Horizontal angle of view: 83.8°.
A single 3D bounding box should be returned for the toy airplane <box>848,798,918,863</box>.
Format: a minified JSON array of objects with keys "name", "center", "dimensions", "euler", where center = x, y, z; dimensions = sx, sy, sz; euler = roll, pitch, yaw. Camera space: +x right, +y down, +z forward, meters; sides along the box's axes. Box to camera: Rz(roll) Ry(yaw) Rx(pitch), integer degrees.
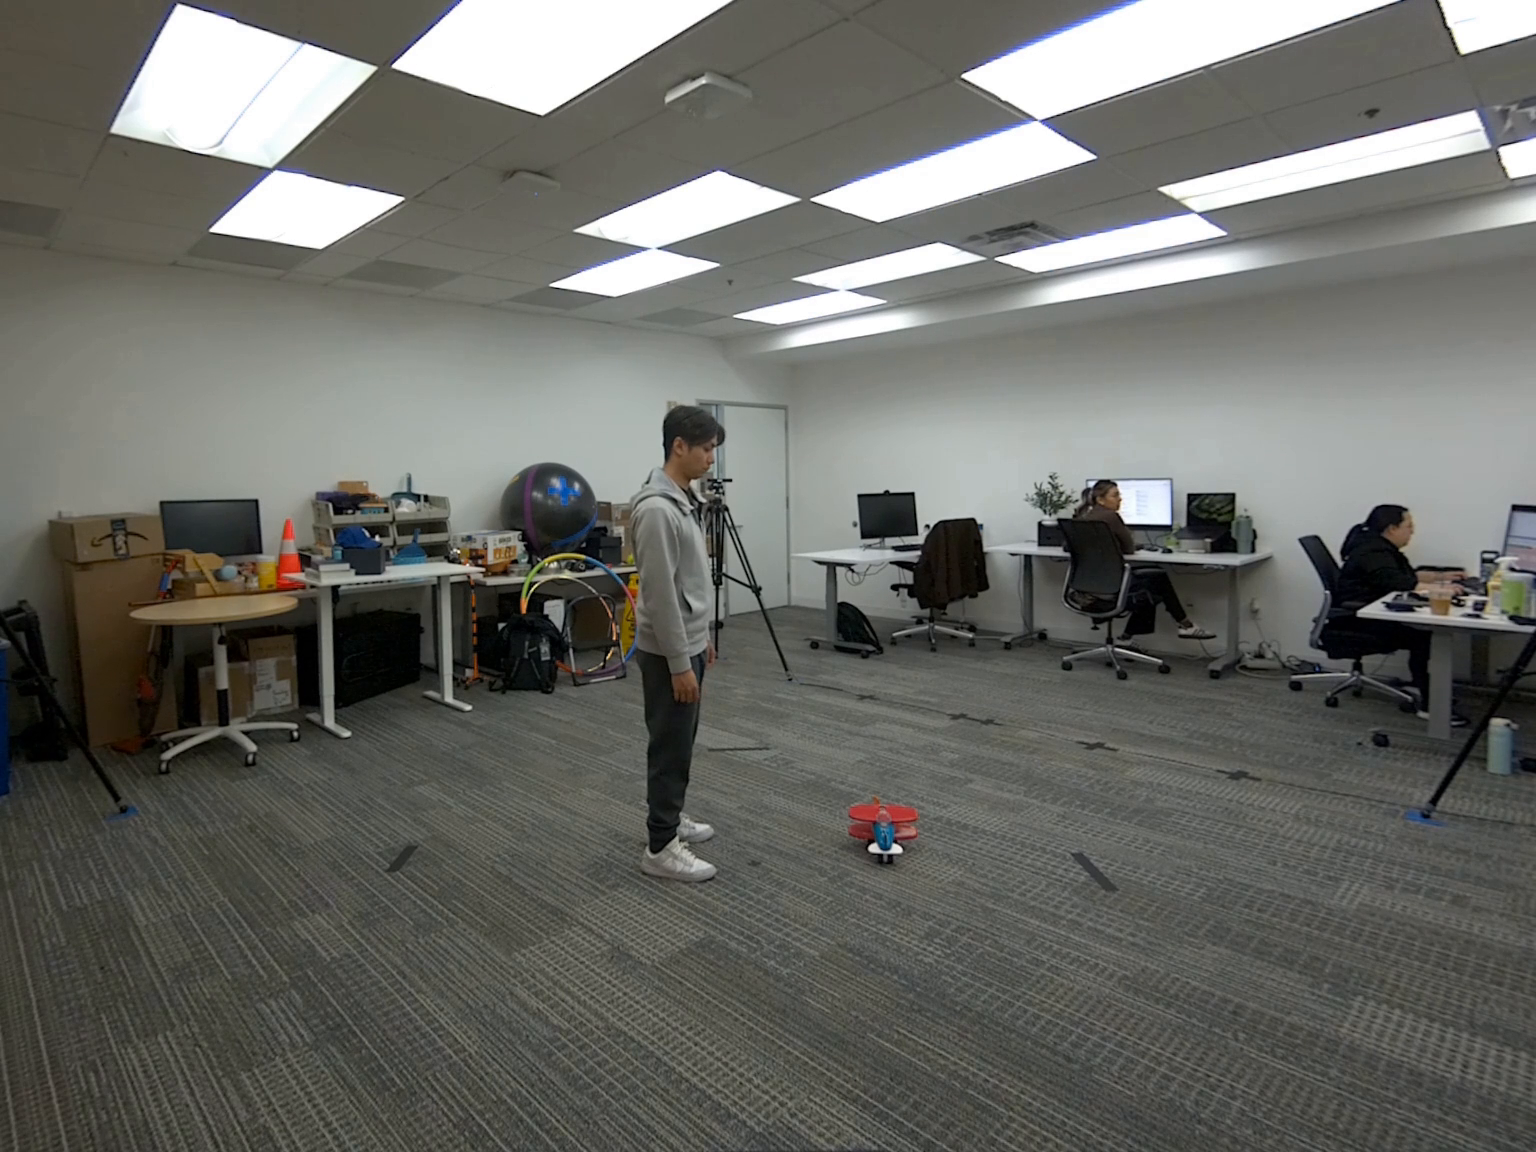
[{"name":"toy airplane","center":[0.447,0.952,3.177],"dimensions":[0.246,0.156,0.265],"euler":[-3,6,-24]}]
